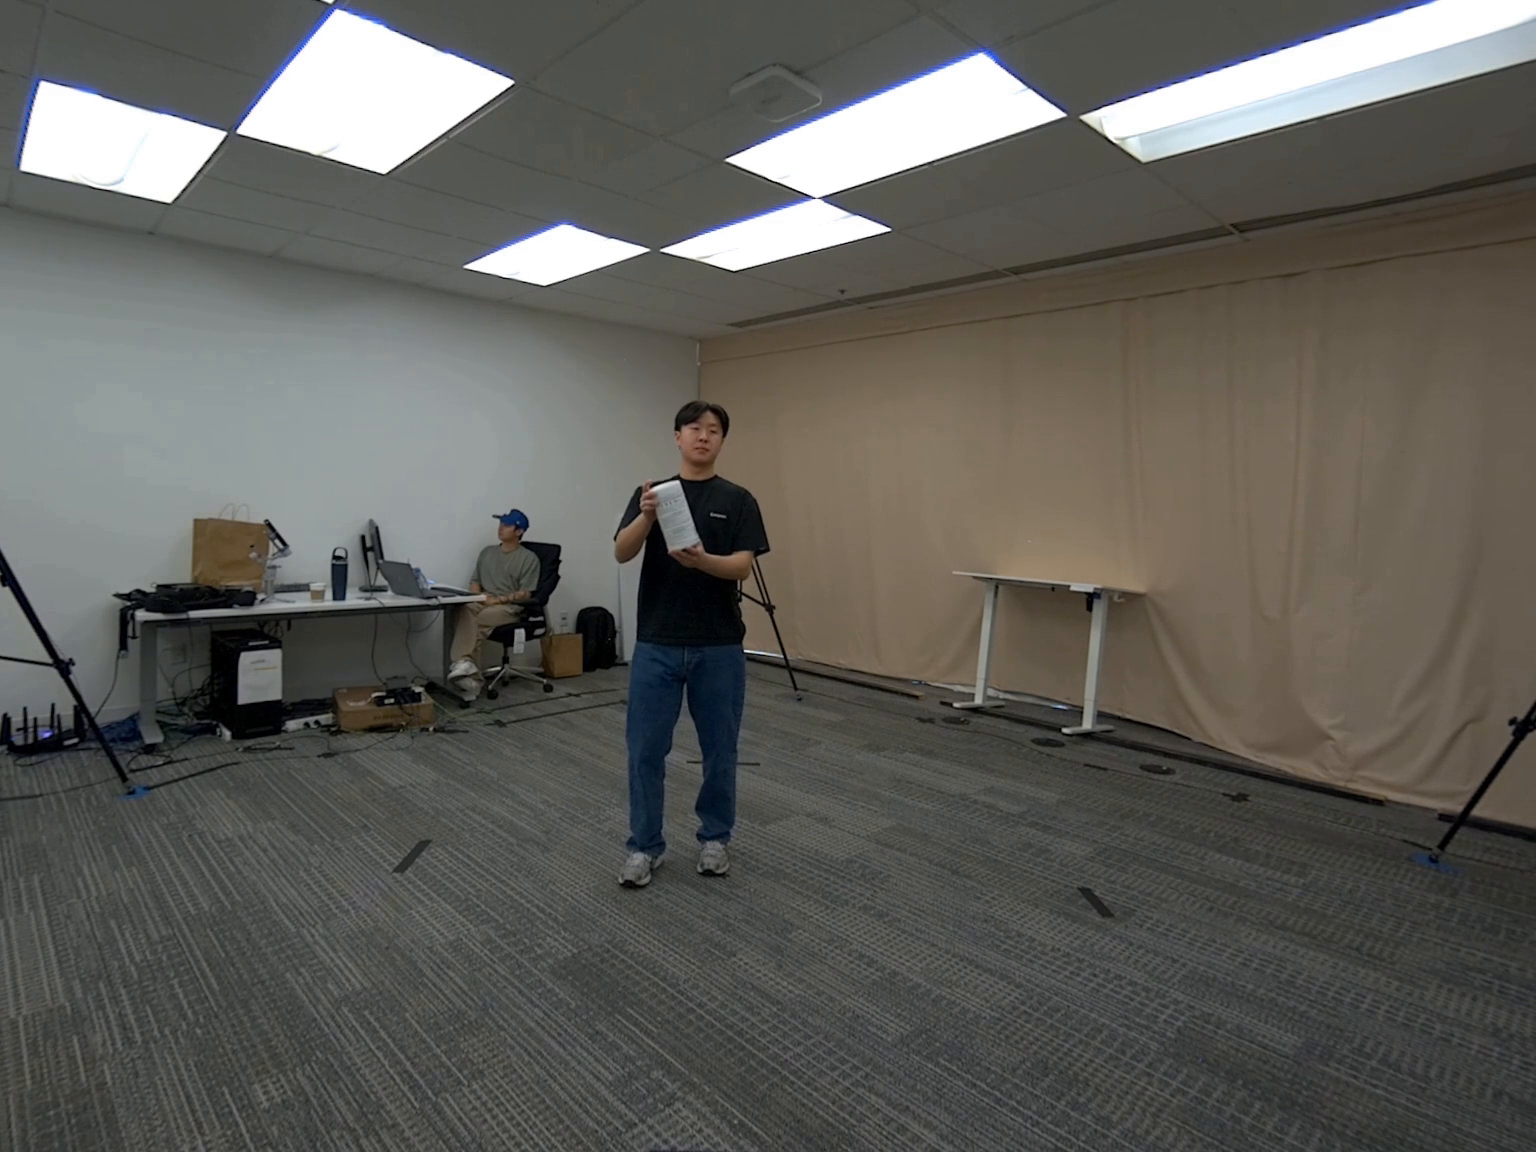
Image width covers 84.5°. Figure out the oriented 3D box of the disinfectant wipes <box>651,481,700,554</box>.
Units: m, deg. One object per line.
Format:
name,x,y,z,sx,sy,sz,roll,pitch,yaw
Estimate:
disinfectant wipes,-0.317,-0.196,2.779,0.118,0.215,0.119,-18,13,3
